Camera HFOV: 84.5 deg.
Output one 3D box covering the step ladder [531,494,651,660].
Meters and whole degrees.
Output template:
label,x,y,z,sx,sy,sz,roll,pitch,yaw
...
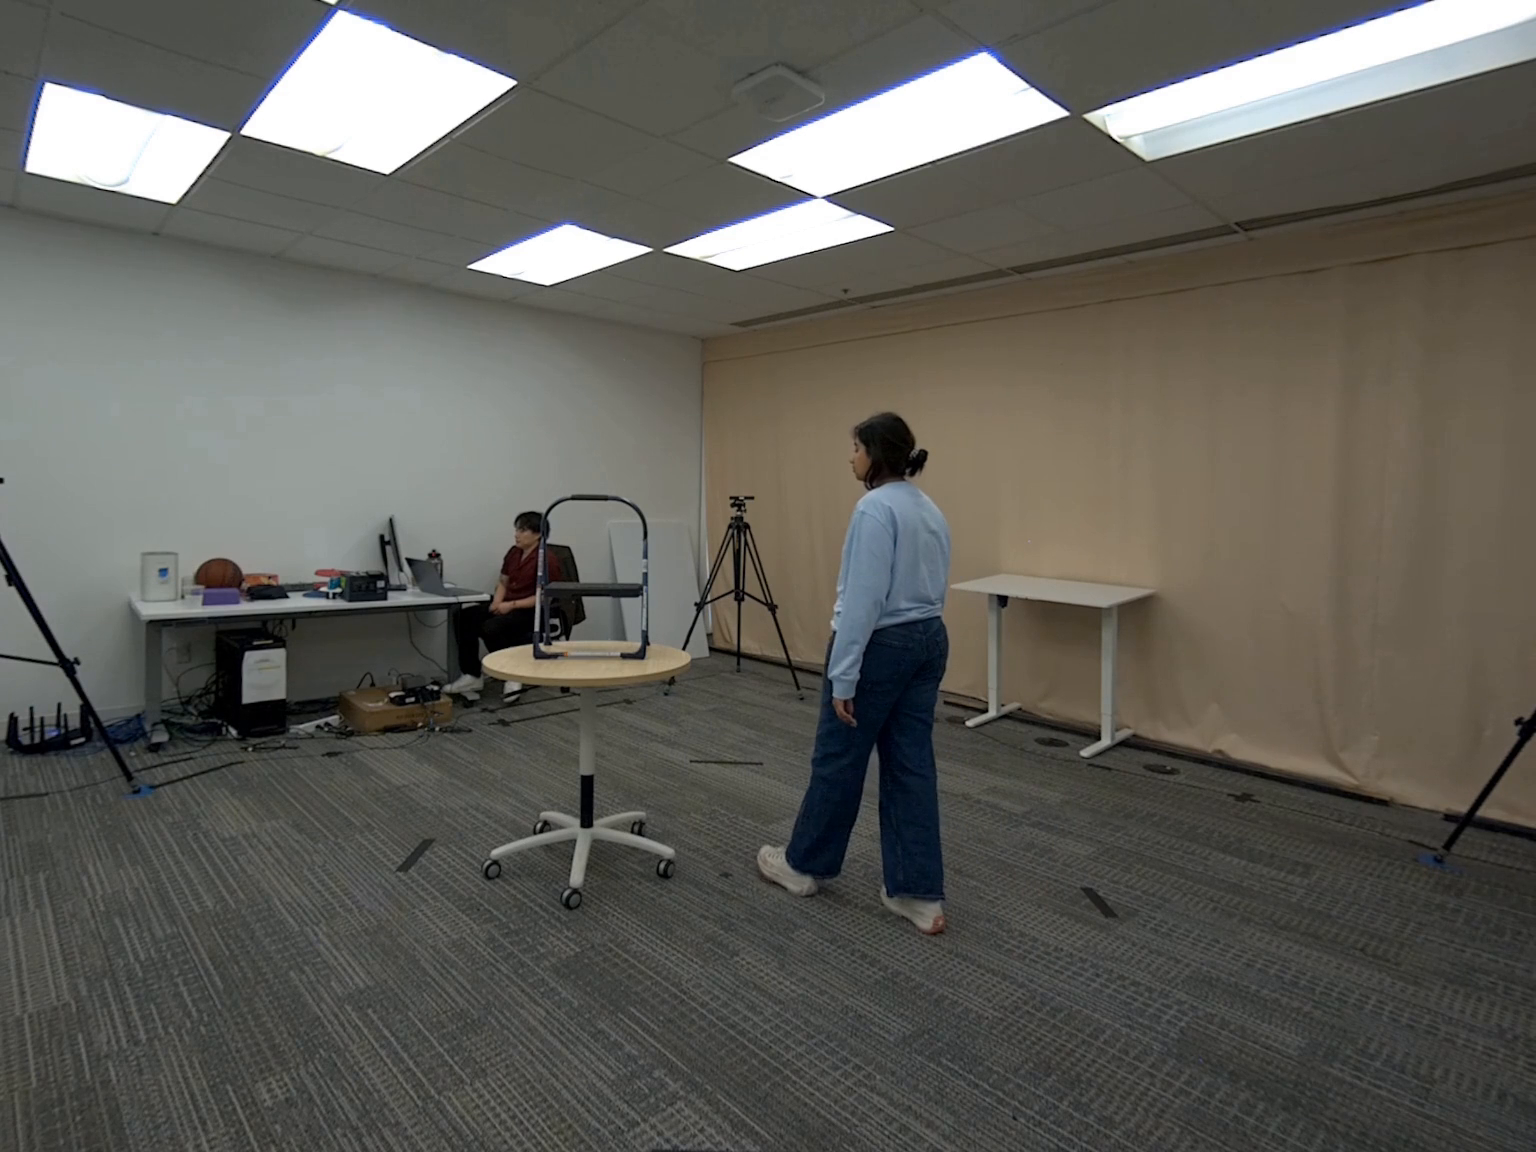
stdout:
label,x,y,z,sx,sy,sz,roll,pitch,yaw
step ladder,-0.677,-0.007,3.253,0.429,0.605,0.351,1,2,-6
